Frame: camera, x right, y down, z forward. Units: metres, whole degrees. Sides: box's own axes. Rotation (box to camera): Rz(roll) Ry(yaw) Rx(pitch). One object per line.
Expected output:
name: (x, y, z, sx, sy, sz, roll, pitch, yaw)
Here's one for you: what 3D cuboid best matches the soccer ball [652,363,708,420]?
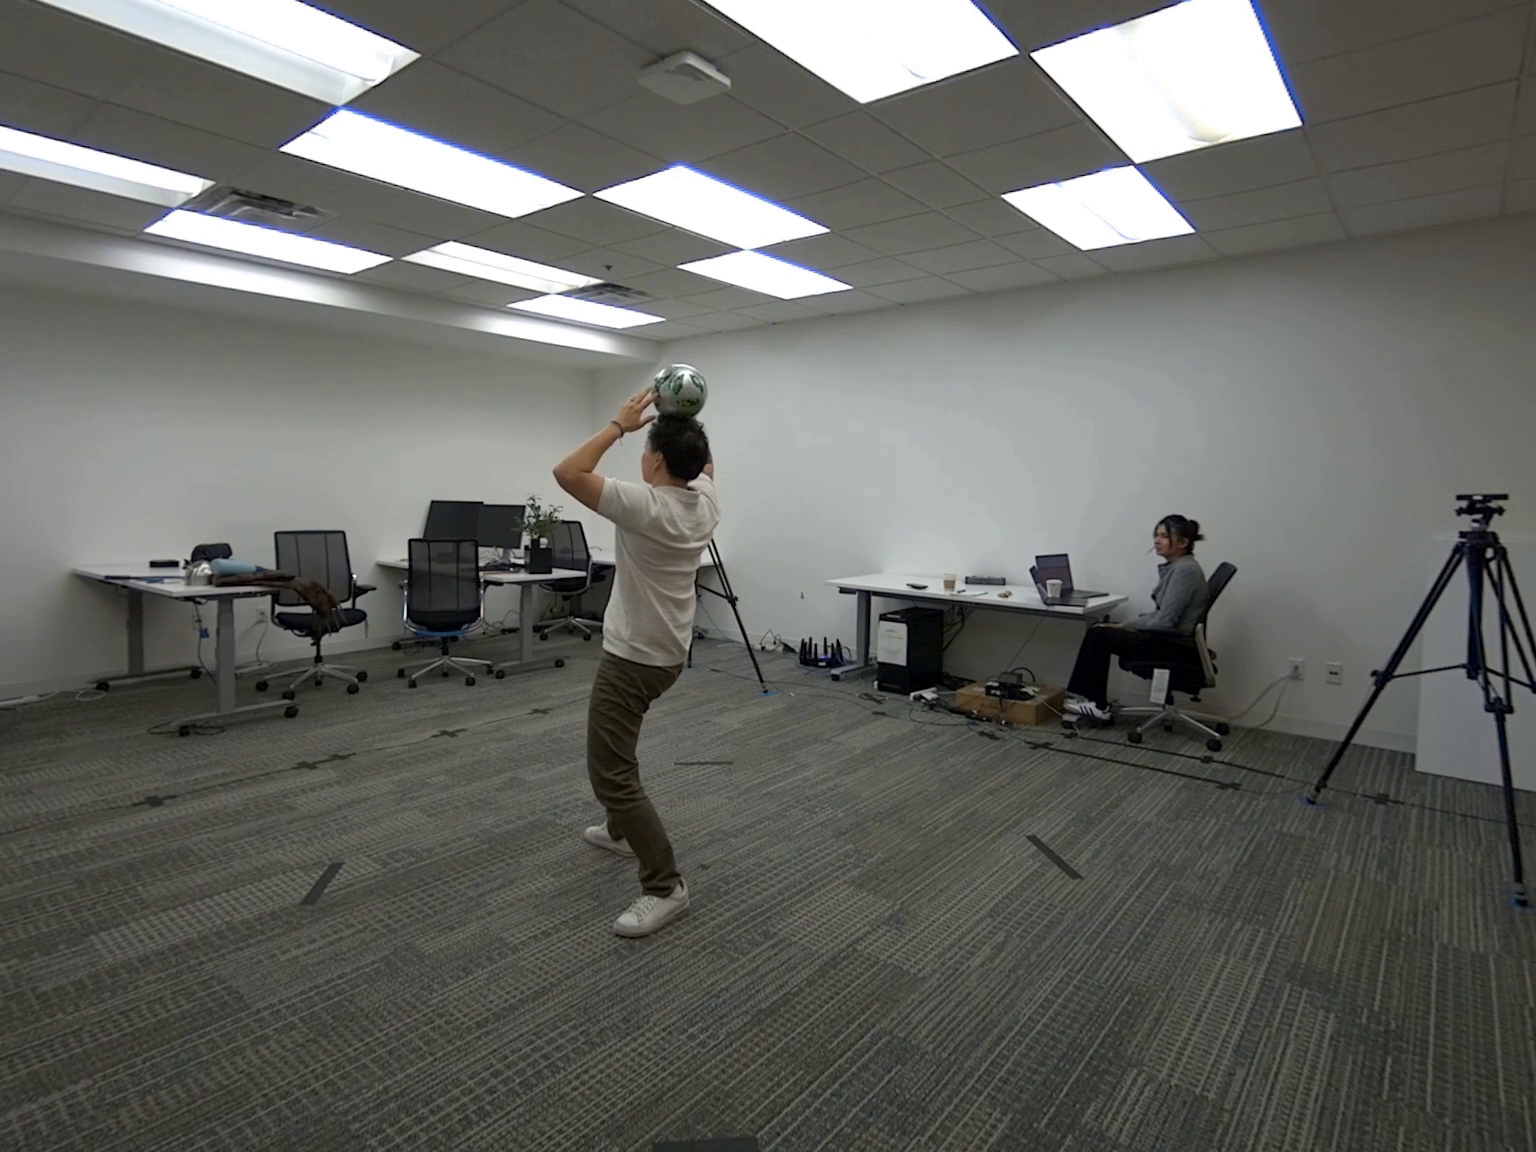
soccer ball: (-0.301, -0.607, 2.812, 0.187, 0.187, 0.188, 1, 4, -2)
